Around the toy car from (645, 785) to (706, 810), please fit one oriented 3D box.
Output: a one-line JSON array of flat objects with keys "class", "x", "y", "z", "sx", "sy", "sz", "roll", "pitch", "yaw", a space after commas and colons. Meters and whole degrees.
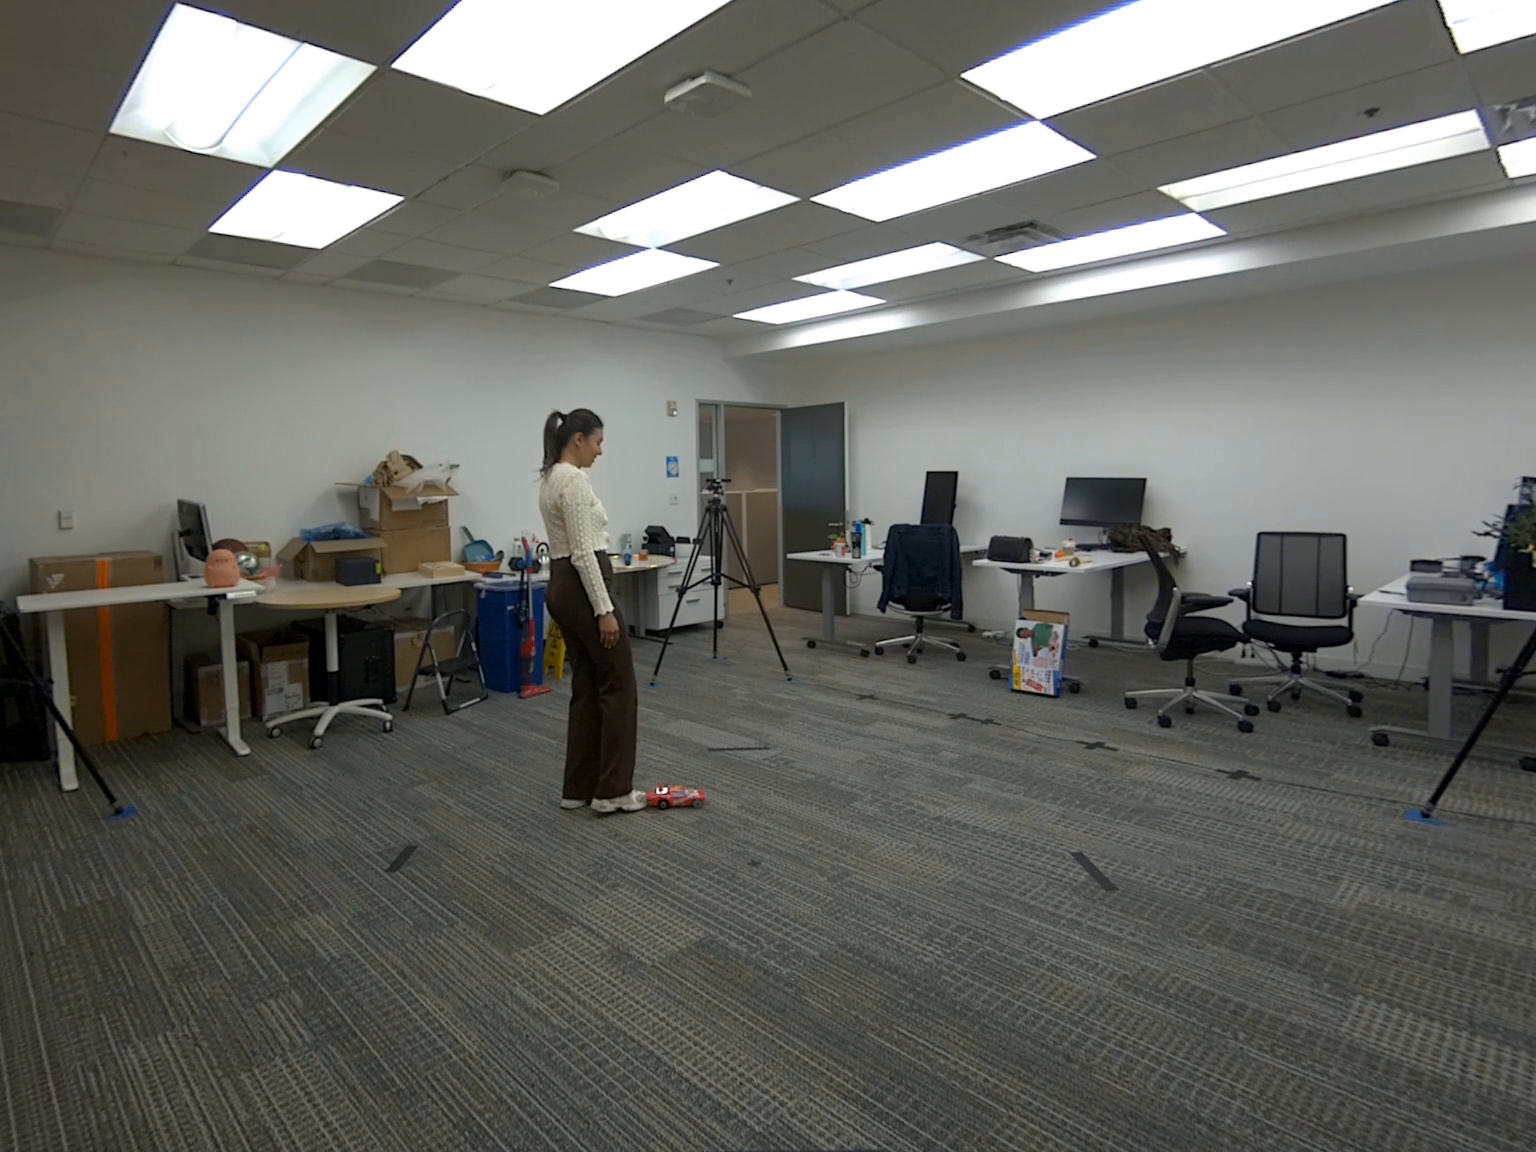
[{"class": "toy car", "x": -0.402, "y": 0.951, "z": 3.675, "sx": 0.253, "sy": 0.083, "sz": 0.131, "roll": 10, "pitch": 4, "yaw": -6}]
